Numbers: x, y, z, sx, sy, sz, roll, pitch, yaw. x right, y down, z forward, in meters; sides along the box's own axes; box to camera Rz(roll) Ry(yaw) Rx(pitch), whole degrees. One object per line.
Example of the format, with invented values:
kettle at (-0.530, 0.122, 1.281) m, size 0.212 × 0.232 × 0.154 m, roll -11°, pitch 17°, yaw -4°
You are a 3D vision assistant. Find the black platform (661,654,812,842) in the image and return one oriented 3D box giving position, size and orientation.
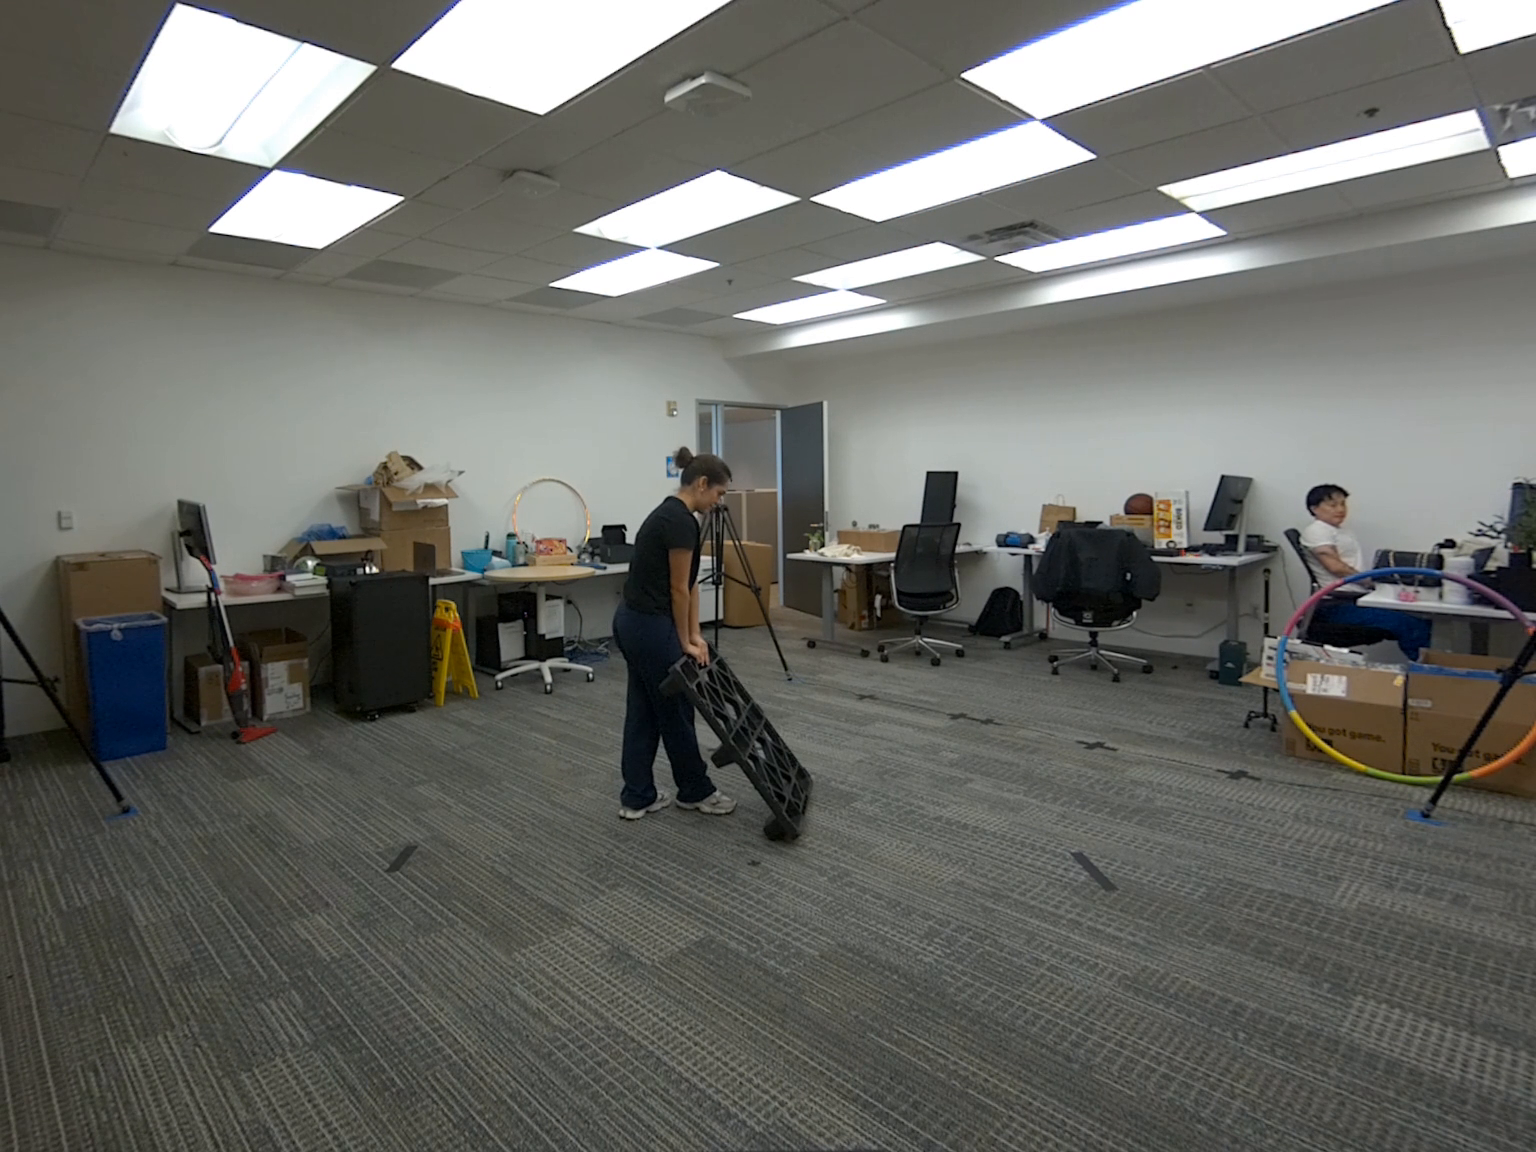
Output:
black platform at (-0.126, 0.665, 3.548) m, size 0.144 × 0.809 × 0.601 m, roll -37°, pitch -2°, yaw 11°
